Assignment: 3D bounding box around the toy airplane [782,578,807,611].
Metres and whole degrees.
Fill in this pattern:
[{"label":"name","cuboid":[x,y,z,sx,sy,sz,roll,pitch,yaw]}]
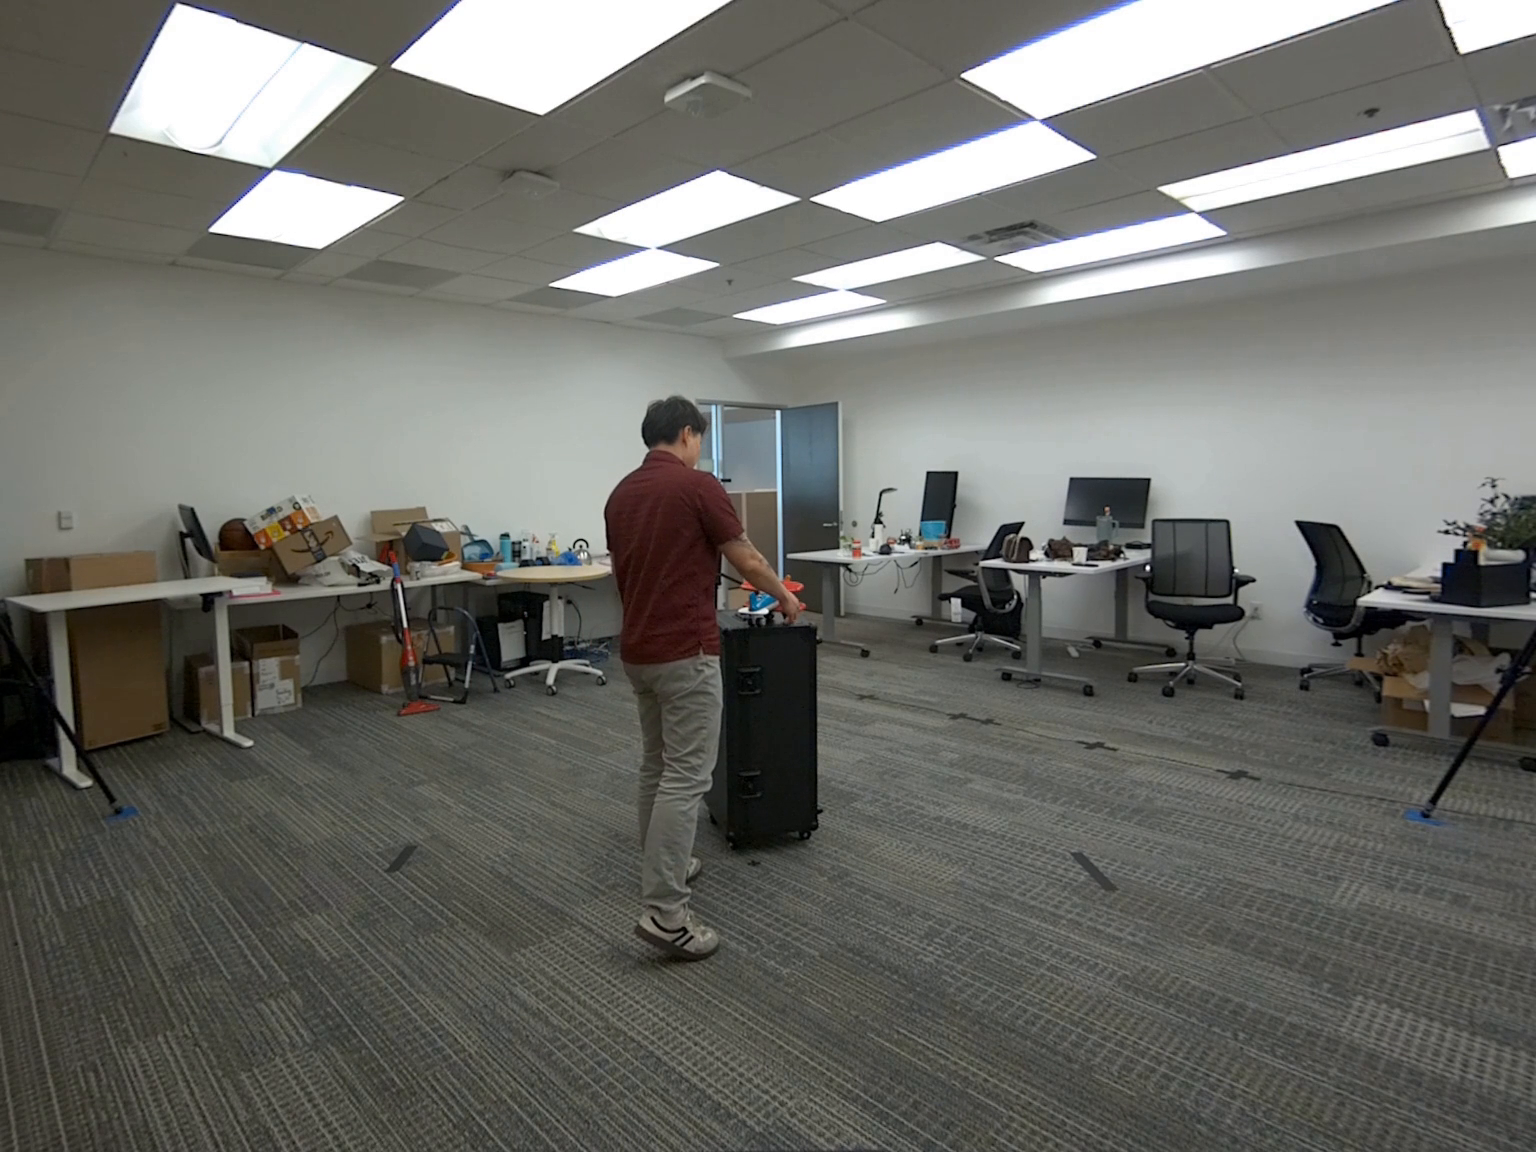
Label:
[{"label":"toy airplane","cuboid":[0.026,0.100,3.211,0.252,0.156,0.259,-1,4,4]}]
